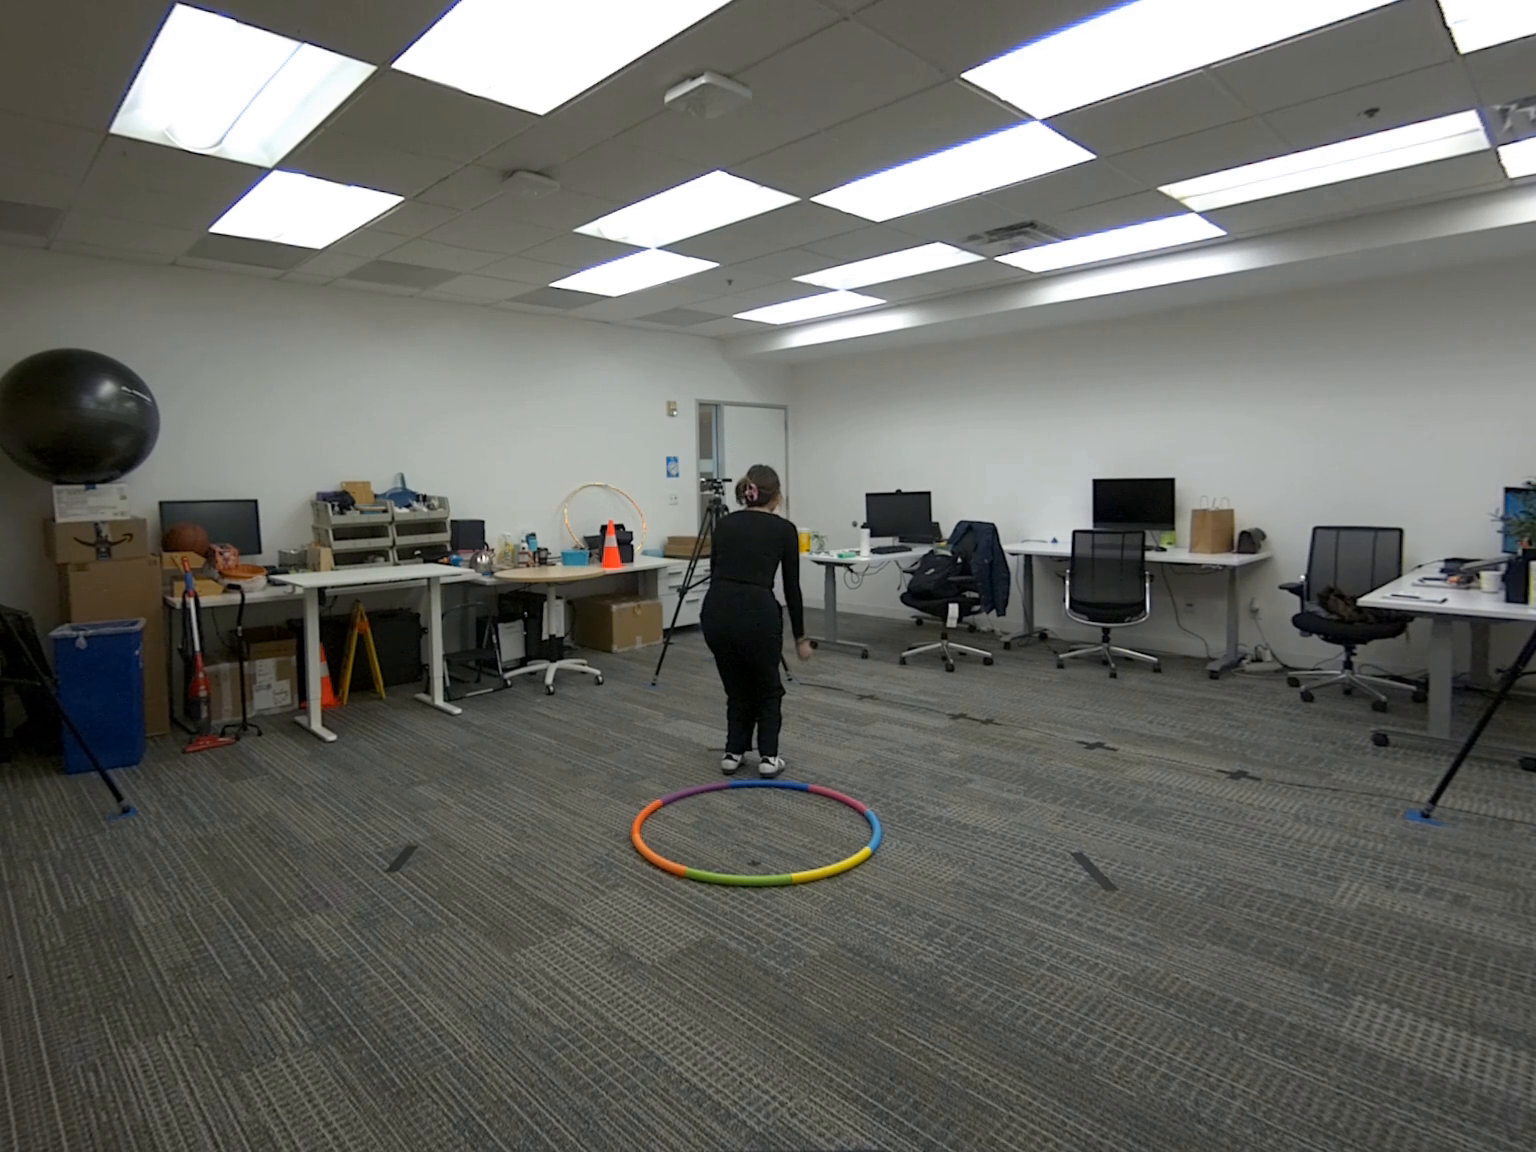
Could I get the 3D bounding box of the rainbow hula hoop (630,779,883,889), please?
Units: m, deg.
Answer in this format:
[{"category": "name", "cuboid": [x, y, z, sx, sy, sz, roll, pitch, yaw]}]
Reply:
[{"category": "rainbow hula hoop", "cuboid": [-0.045, 0.981, 3.403, 0.978, 0.035, 0.984, -1, 6, -2]}]
